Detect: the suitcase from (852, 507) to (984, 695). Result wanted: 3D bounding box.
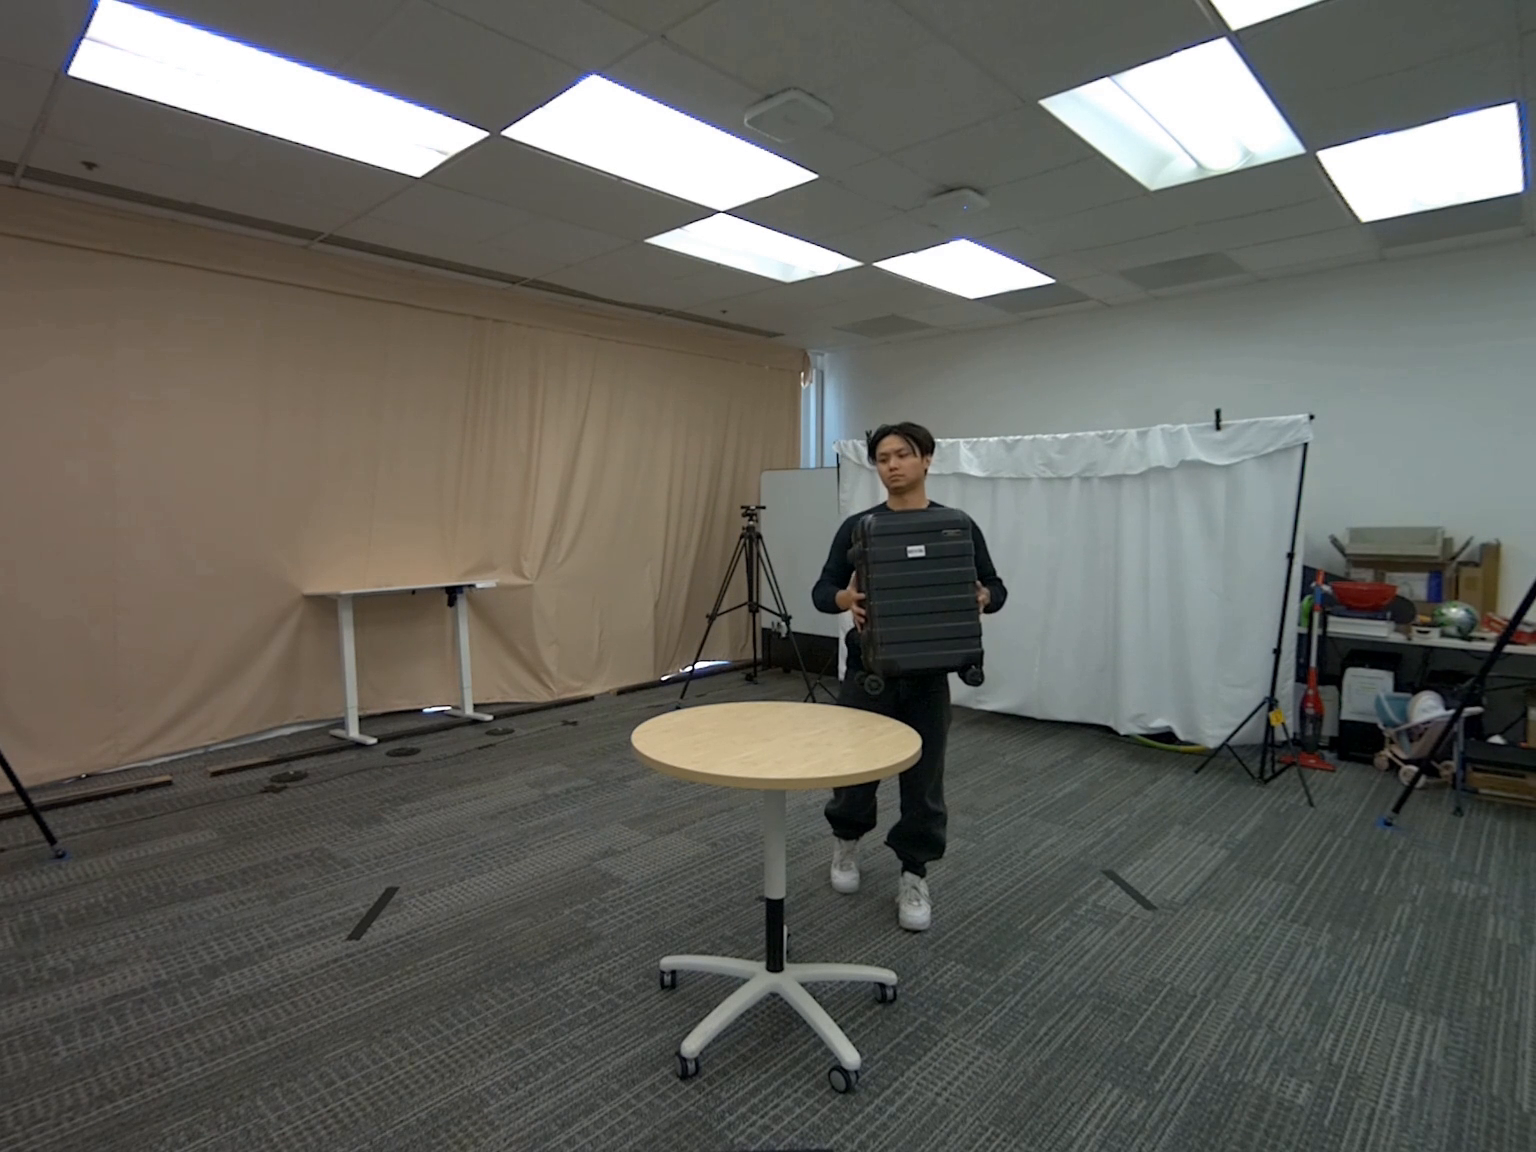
[{"bbox_3d":[0.458,0.062,2.615,0.375,0.551,0.247,-3,-4,0],"label":"suitcase"}]
